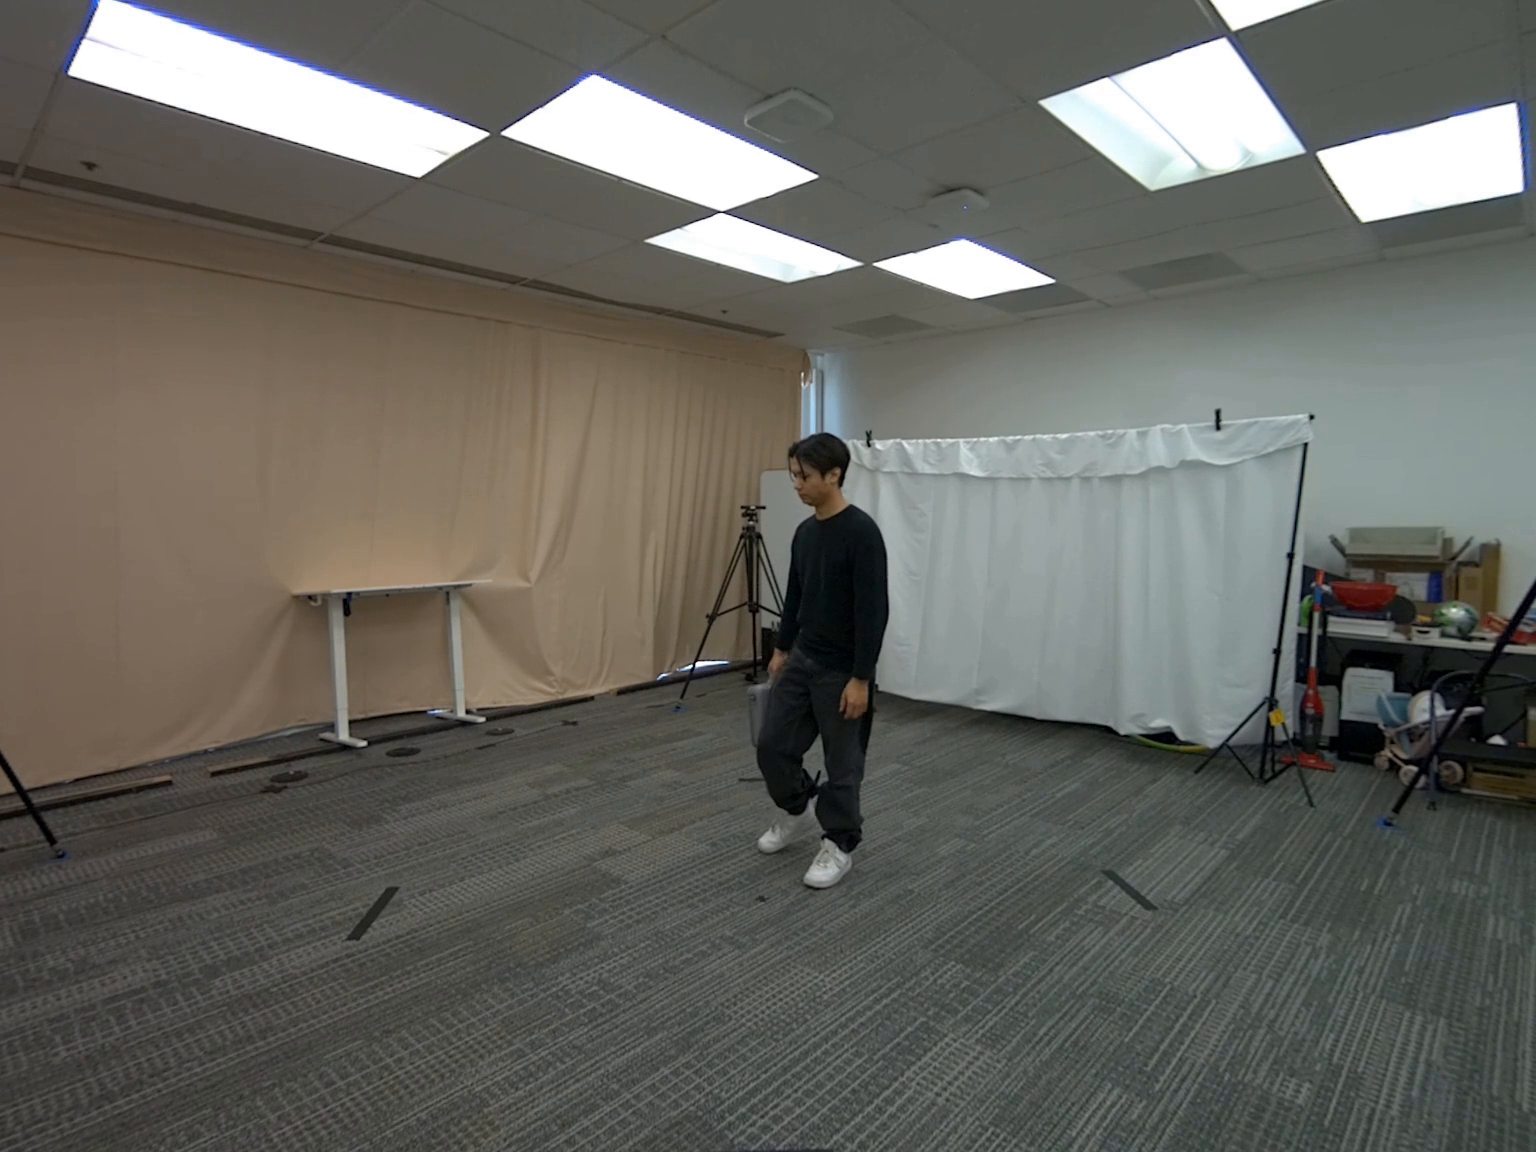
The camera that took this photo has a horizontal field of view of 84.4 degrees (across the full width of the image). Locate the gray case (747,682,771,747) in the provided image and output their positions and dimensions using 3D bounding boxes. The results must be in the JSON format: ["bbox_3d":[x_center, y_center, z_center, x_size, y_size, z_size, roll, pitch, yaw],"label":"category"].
[{"bbox_3d":[0.059,0.555,3.416,0.250,0.261,0.106,-4,-4,-27],"label":"gray case"}]
